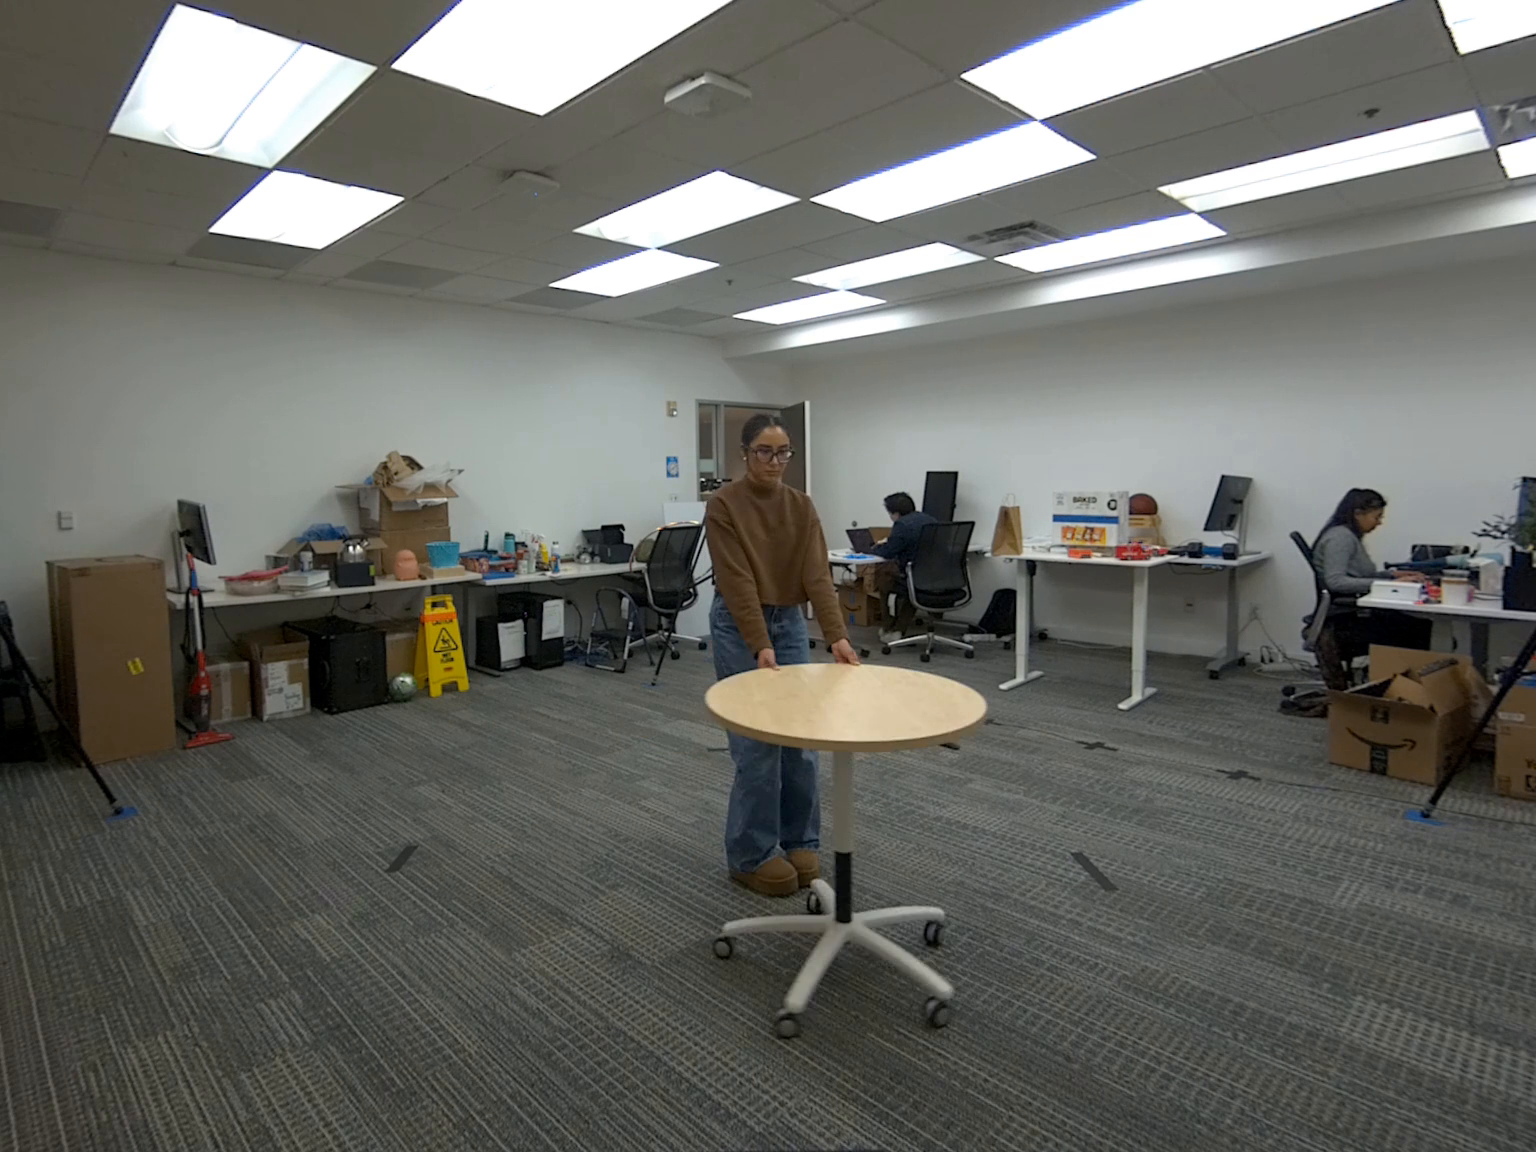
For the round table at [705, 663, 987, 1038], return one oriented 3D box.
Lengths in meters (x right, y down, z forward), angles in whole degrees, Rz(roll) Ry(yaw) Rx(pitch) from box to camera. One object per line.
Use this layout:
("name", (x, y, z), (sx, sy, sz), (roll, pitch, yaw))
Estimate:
("round table", (0.192, 0.722, 2.435), (0.784, 0.782, 0.790), (-1, 6, -2))
